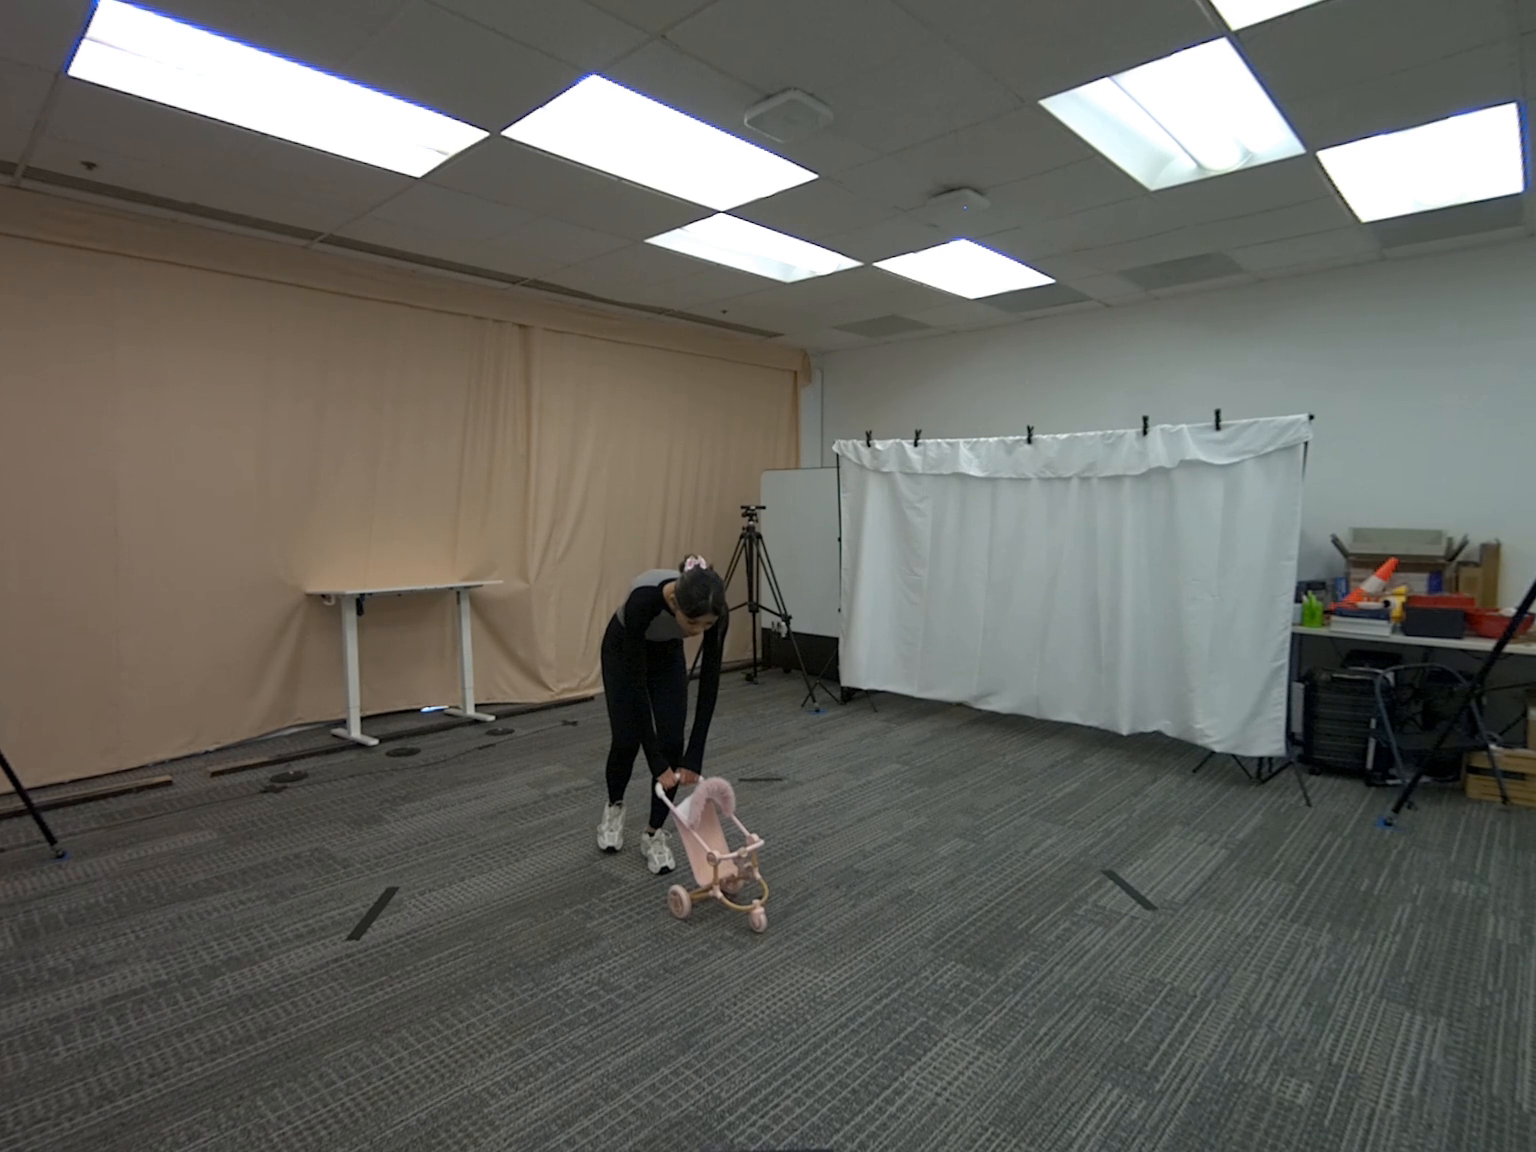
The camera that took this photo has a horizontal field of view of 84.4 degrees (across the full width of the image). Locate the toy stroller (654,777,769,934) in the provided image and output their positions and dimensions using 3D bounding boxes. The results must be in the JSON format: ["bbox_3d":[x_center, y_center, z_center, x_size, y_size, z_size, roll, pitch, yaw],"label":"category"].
[{"bbox_3d":[-0.170,0.929,2.878,0.273,0.539,0.349,-3,-12,-41],"label":"toy stroller"}]
